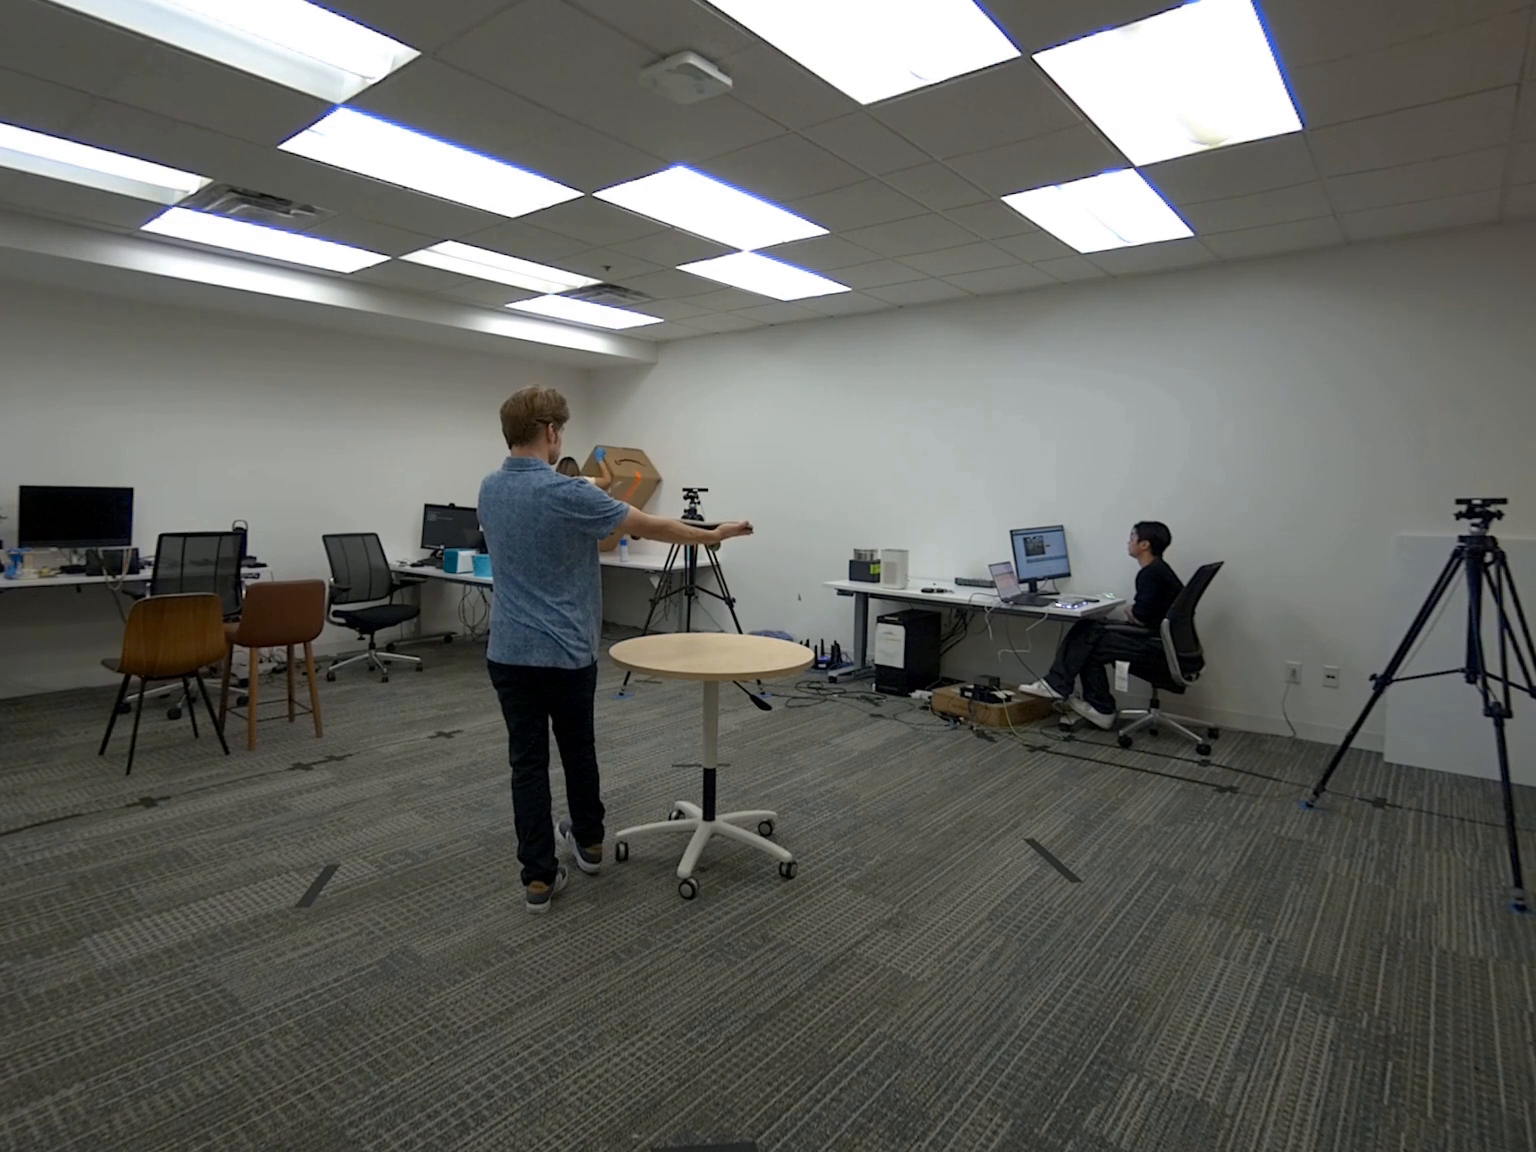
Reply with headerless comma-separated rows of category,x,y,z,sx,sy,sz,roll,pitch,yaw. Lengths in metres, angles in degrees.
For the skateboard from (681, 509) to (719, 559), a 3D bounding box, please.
skateboard,-0.421,-0.181,3.248,0.812,0.110,0.186,8,-3,36
